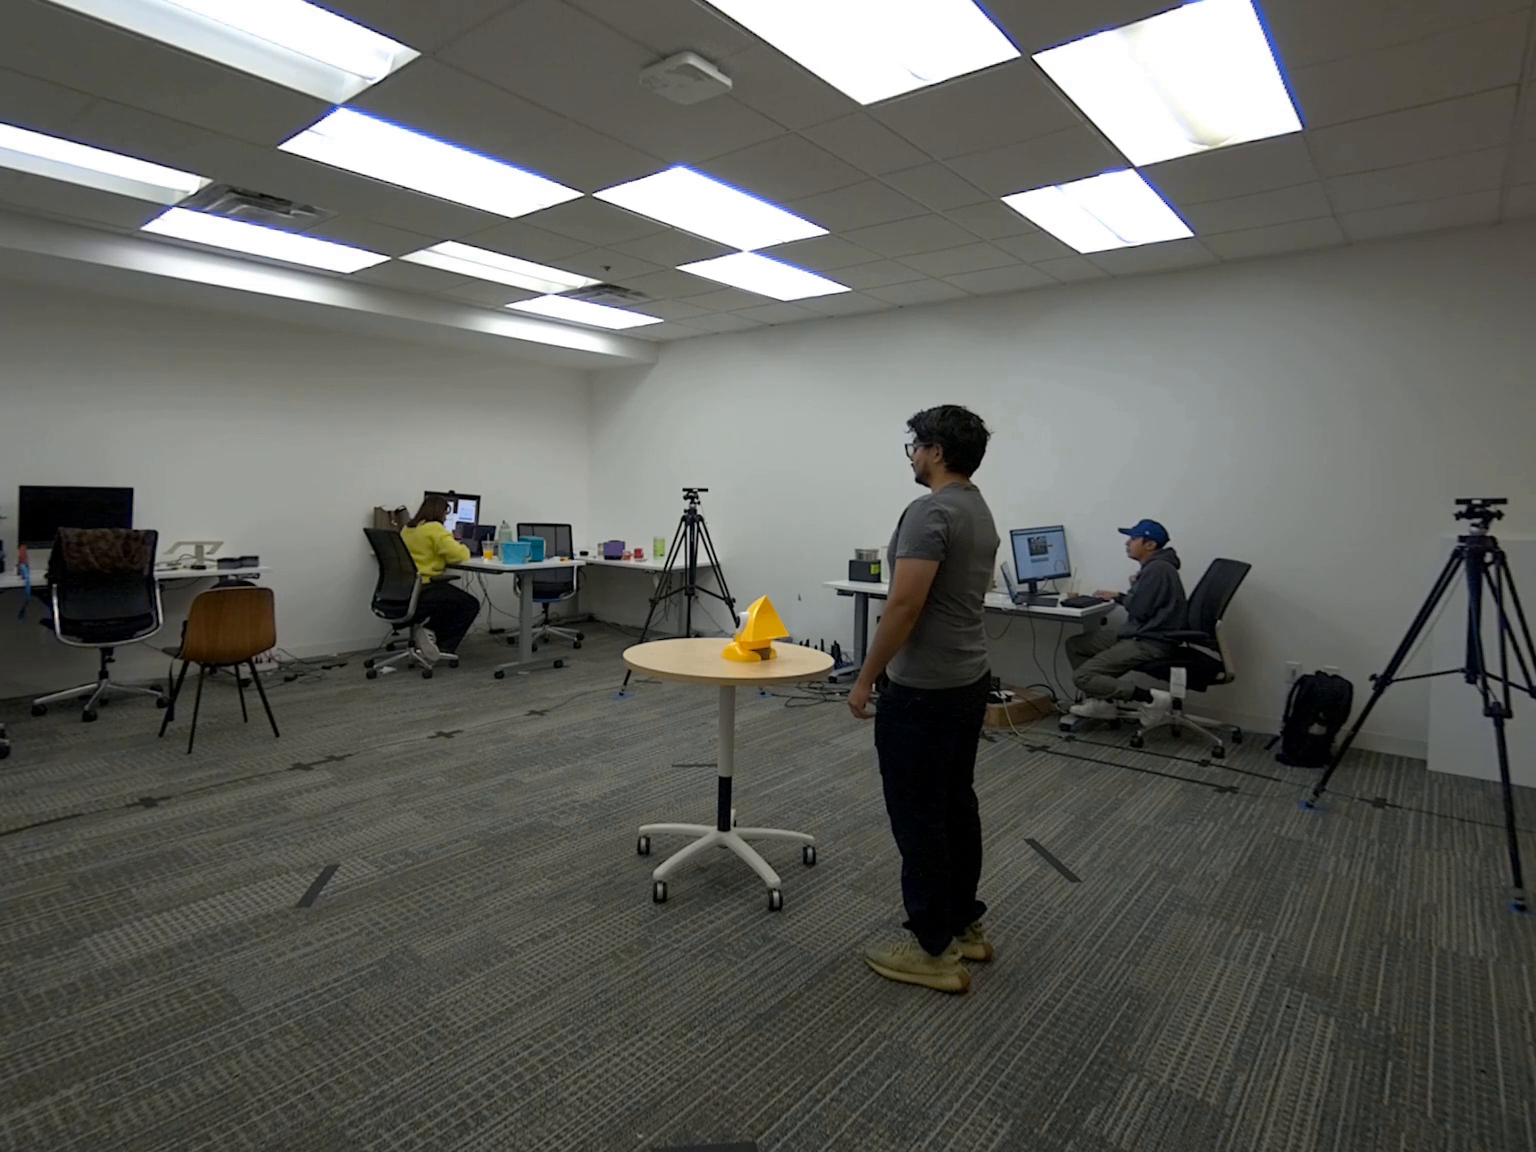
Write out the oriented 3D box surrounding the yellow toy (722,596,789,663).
[{"bbox_3d":[-0.068,0.177,3.079,0.199,0.230,0.198,4,4,43],"label":"yellow toy"}]
